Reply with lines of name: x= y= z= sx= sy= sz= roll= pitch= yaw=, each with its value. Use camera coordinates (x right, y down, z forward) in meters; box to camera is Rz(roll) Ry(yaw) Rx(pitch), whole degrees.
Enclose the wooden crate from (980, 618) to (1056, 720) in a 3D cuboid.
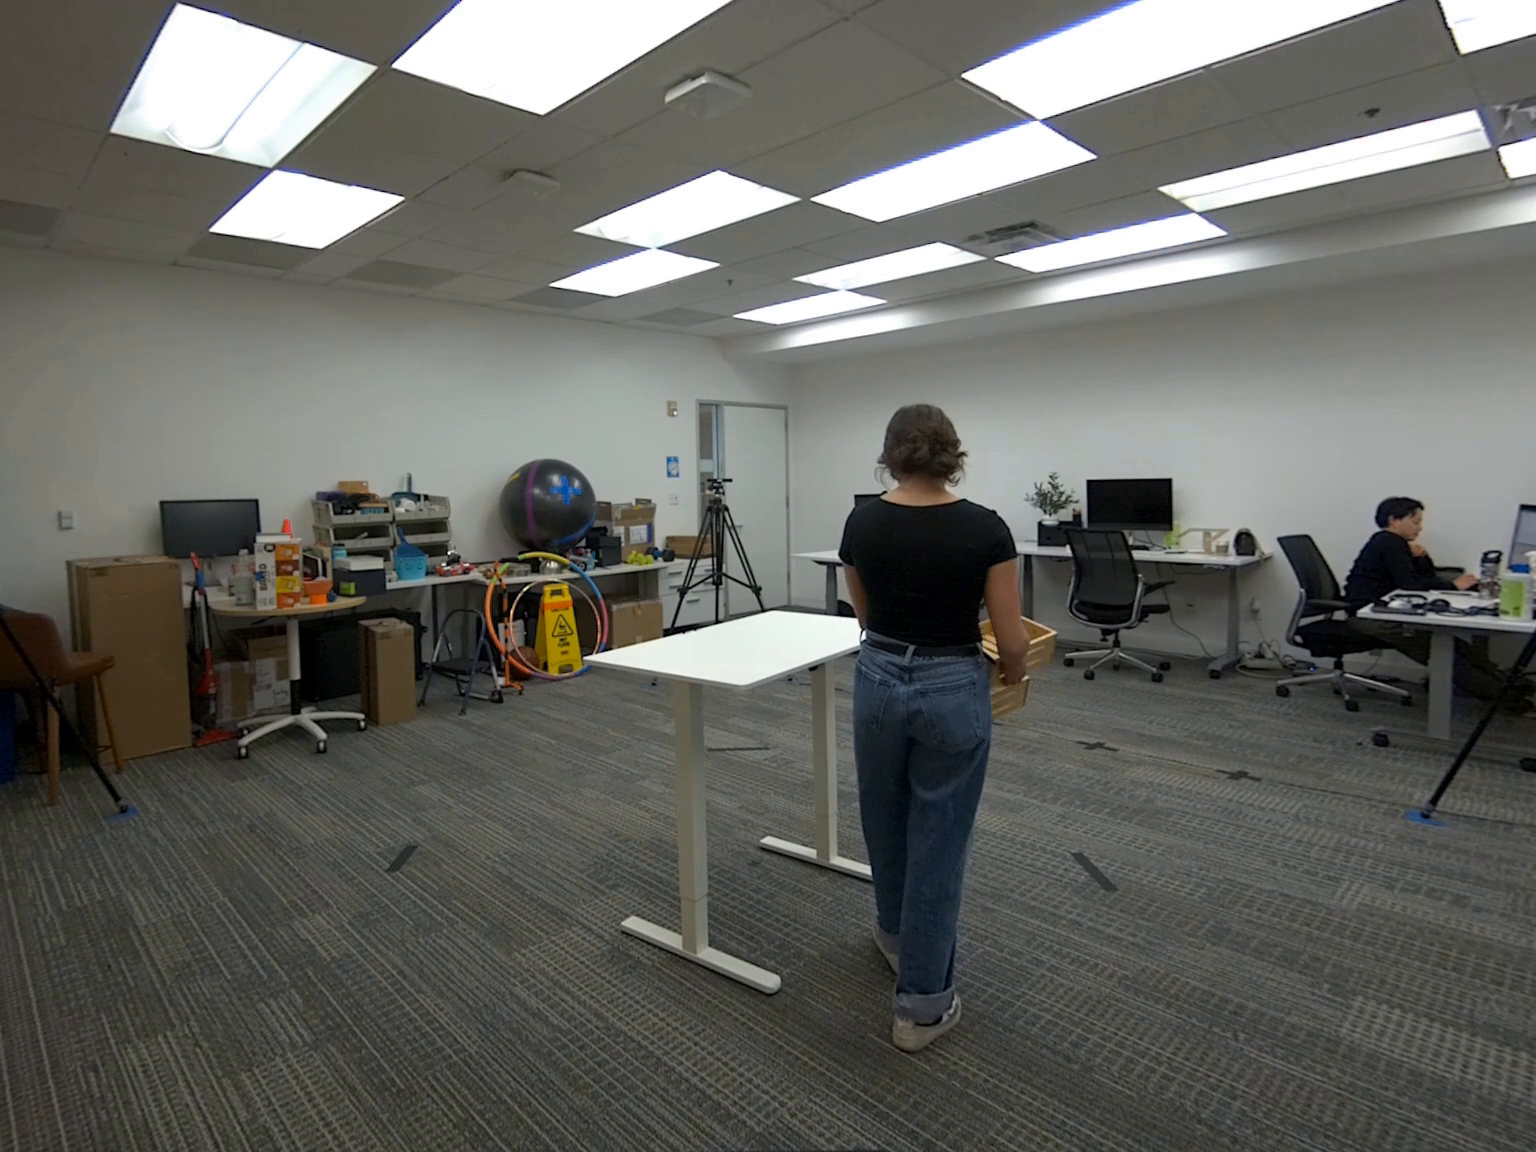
wooden crate: x=0.591 y=0.248 z=2.434 sx=0.317 sy=0.269 sz=0.314 roll=-13 pitch=28 yaw=-38
